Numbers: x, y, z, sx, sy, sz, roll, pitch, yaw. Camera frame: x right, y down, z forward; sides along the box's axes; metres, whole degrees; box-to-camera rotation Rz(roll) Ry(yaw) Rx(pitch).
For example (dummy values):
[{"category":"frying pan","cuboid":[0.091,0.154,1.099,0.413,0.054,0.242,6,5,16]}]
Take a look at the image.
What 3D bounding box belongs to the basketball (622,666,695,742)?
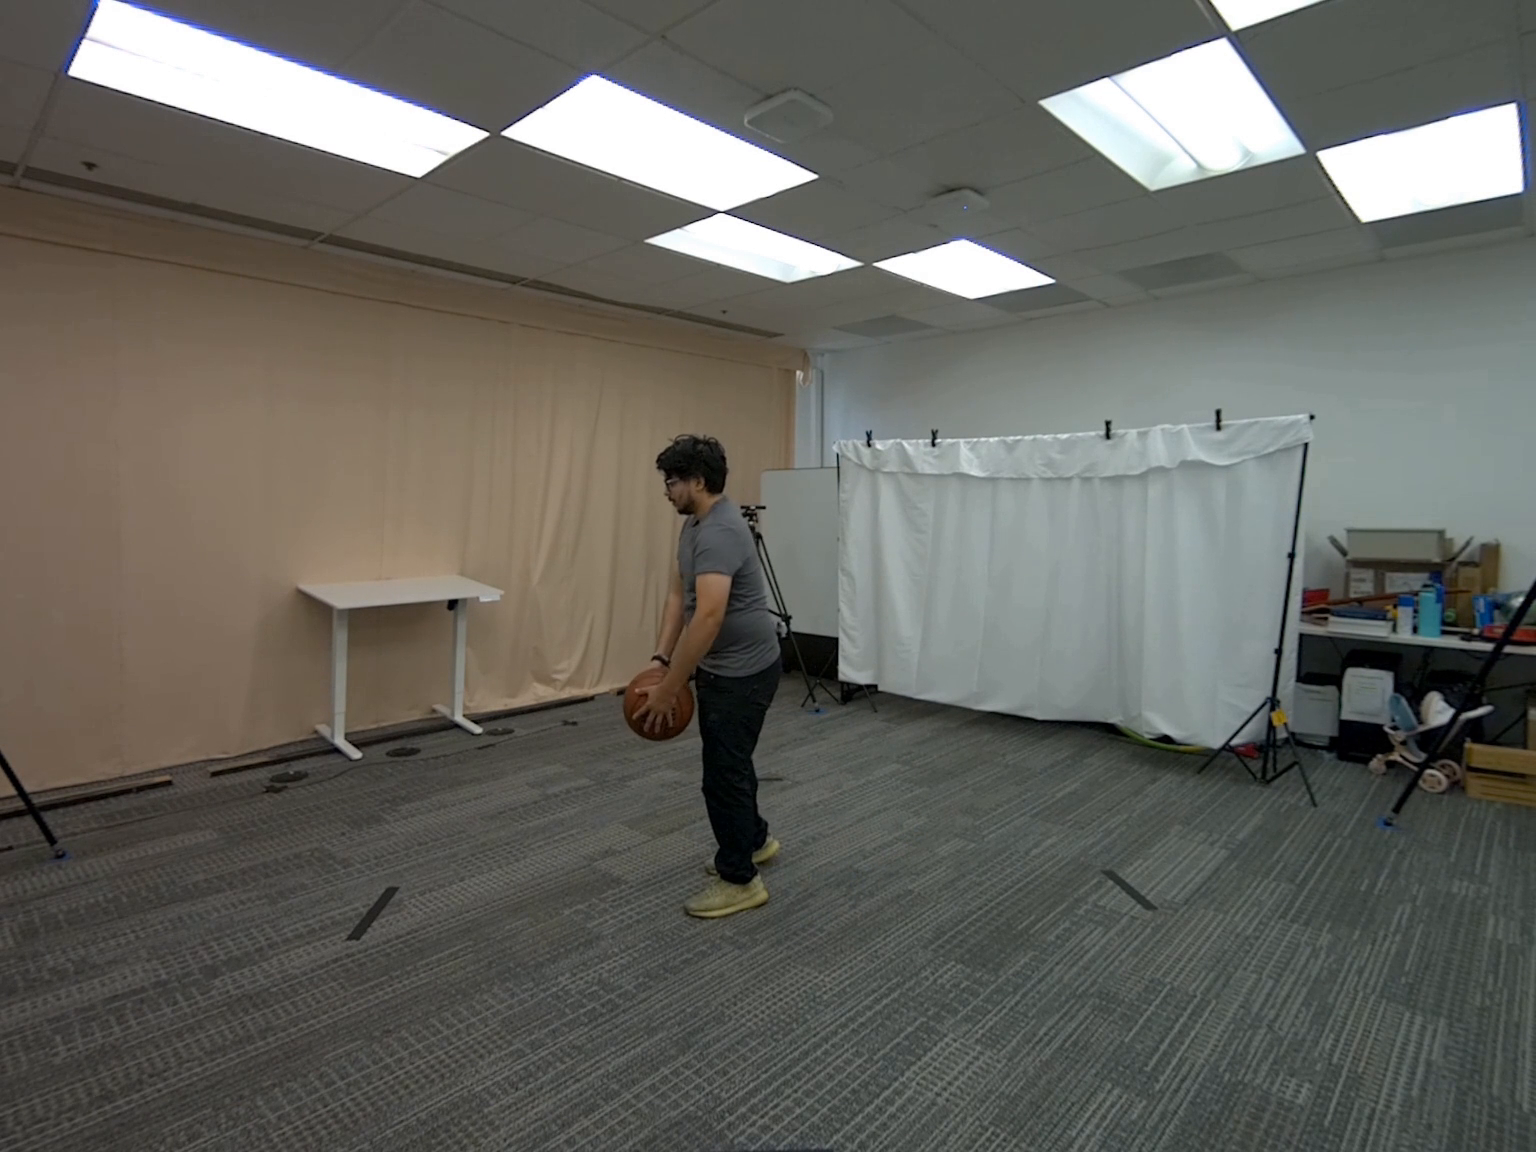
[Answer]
[{"category":"basketball","cuboid":[-0.365,0.420,2.800,0.236,0.235,0.237,0,4,-2]}]
